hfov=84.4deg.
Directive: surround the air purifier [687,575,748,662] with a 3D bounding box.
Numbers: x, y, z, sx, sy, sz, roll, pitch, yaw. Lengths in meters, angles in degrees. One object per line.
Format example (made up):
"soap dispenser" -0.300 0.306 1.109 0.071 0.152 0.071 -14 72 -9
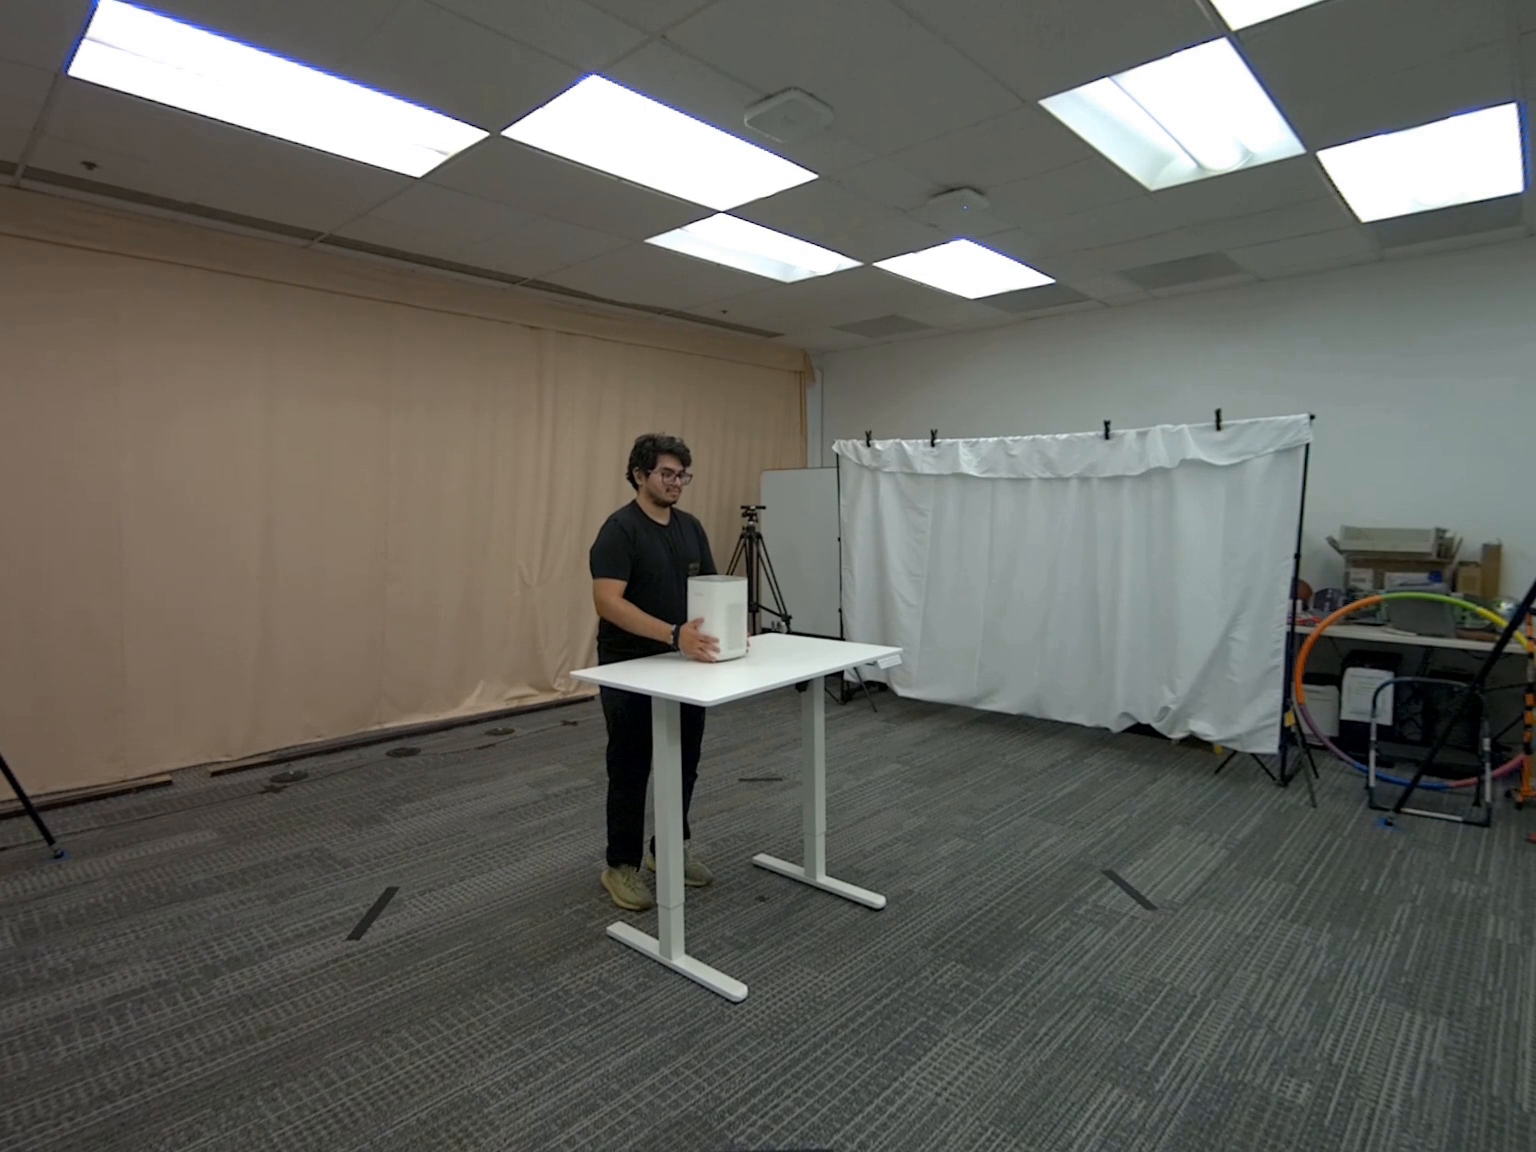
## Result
"air purifier" -0.161 0.136 2.808 0.177 0.265 0.166 5 6 42
